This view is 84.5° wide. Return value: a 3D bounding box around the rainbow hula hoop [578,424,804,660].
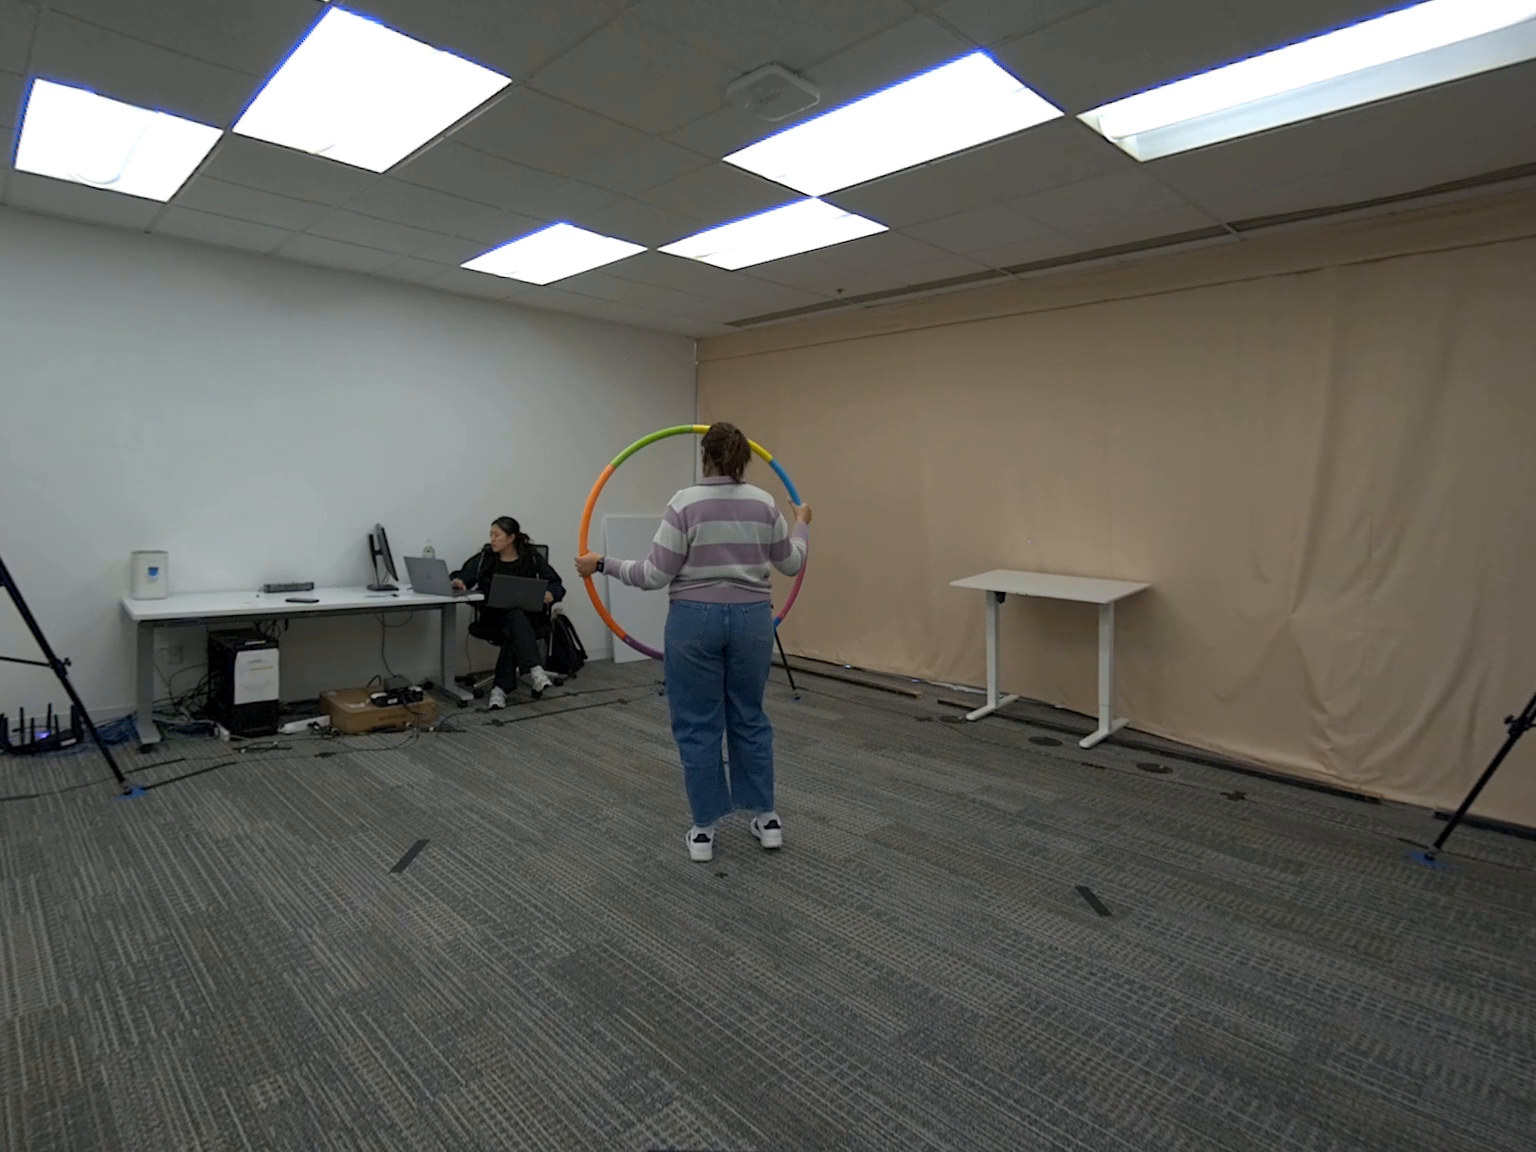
[{"bbox_3d":[-0.288,-0.131,3.474,0.964,0.976,0.036,0,4,-19],"label":"rainbow hula hoop"}]
